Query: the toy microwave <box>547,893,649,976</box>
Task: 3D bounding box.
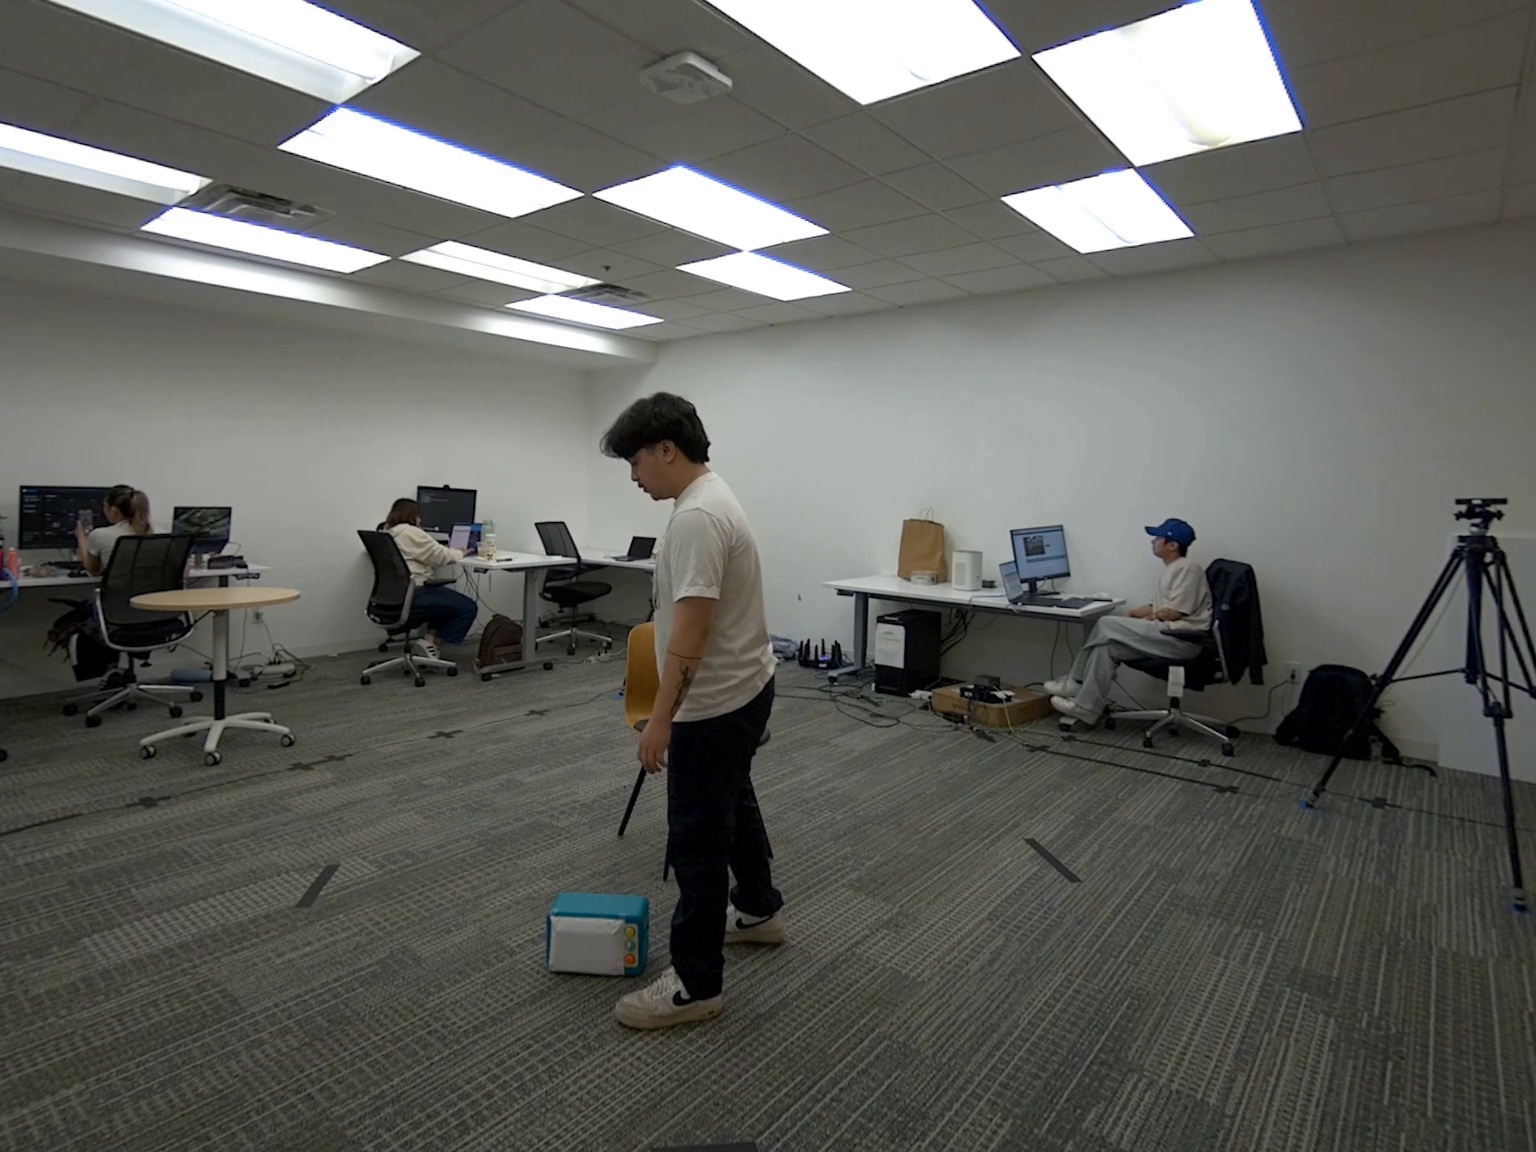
[{"bbox_3d":[-0.501,1.039,2.462,0.287,0.184,0.152,2,2,3],"label":"toy microwave"}]
